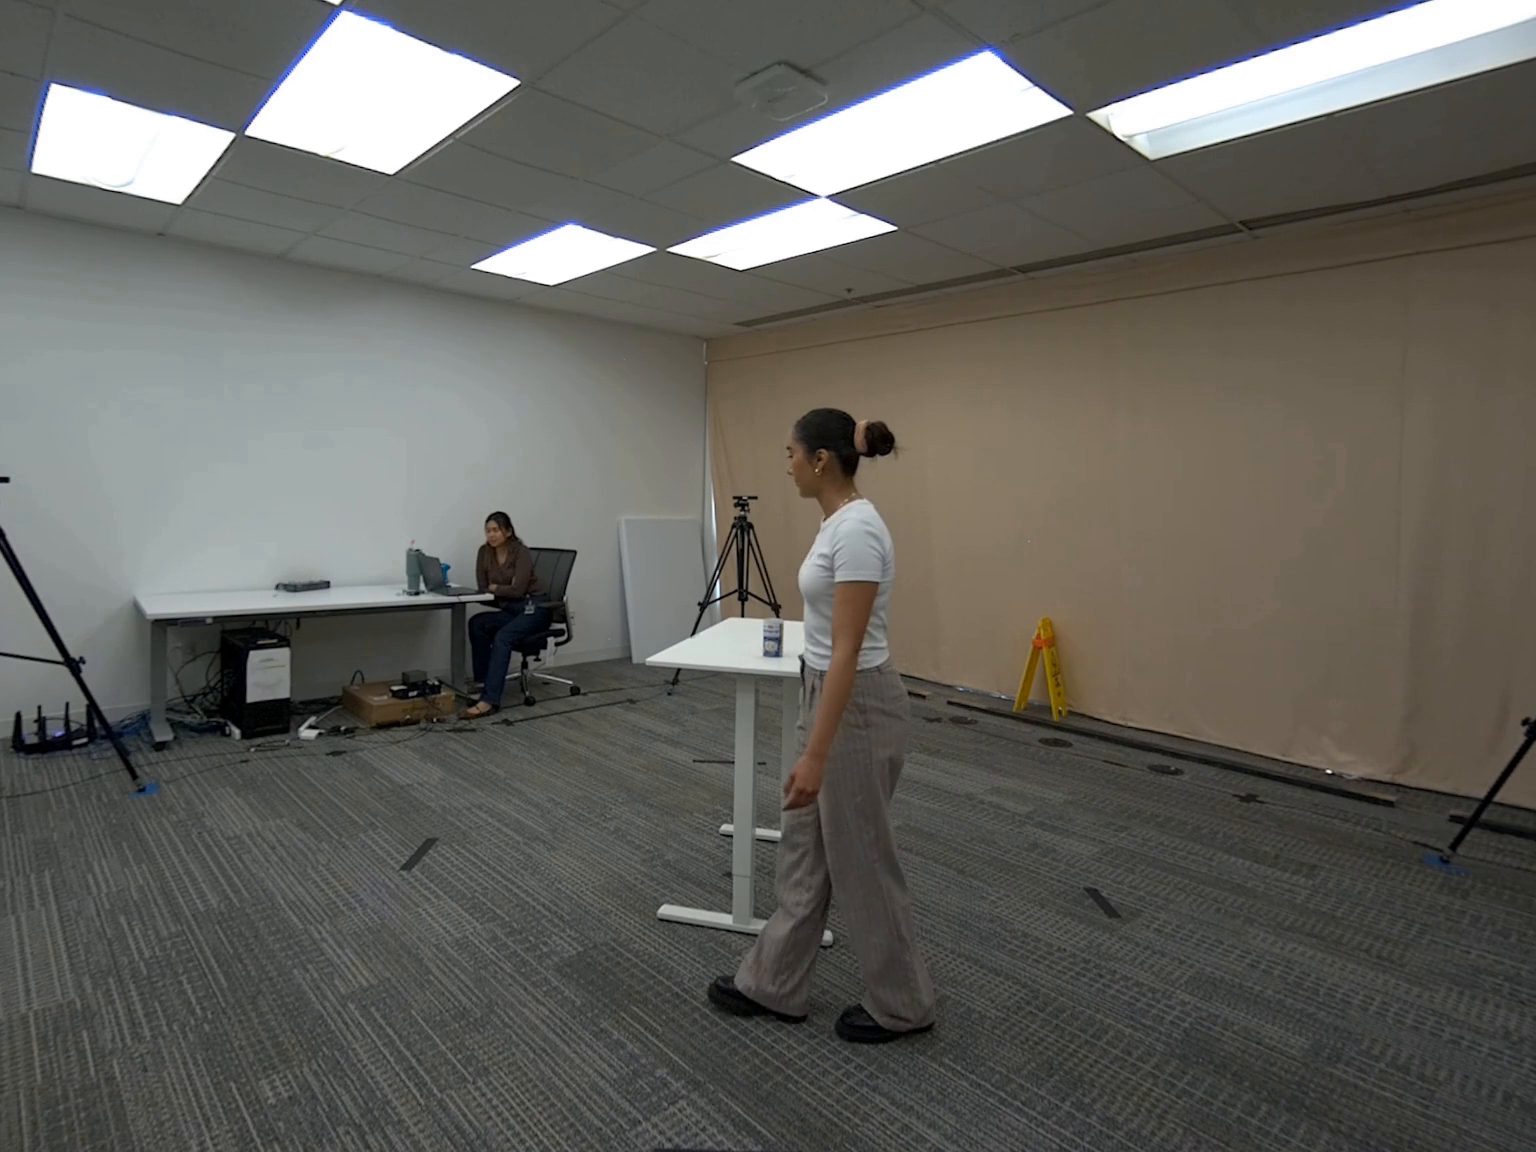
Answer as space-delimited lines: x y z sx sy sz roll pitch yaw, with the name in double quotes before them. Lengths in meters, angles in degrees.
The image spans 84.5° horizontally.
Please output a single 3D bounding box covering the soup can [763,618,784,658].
"soup can" 0.012 0.205 2.730 0.067 0.121 0.067 3 3 -2
